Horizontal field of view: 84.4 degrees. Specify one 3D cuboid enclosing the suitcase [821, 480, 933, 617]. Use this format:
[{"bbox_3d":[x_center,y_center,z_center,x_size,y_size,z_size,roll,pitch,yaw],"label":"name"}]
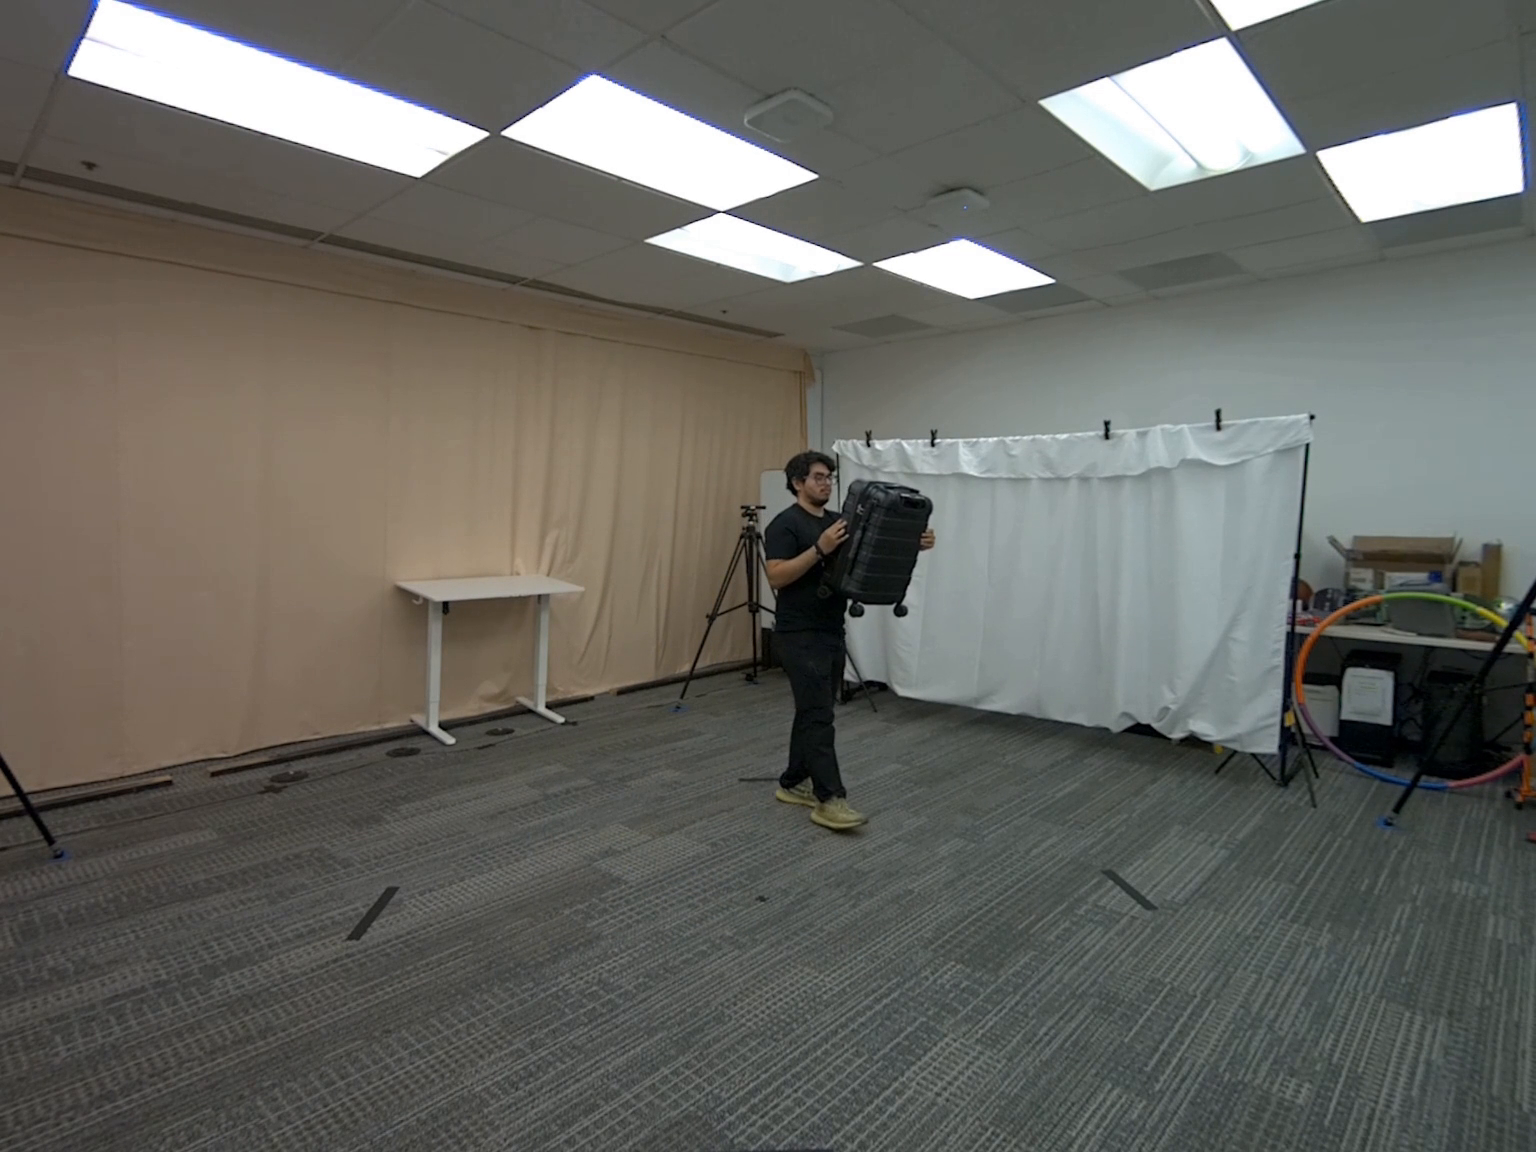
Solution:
[{"bbox_3d":[0.465,-0.134,3.583,0.363,0.547,0.257,4,18,-41],"label":"suitcase"}]
